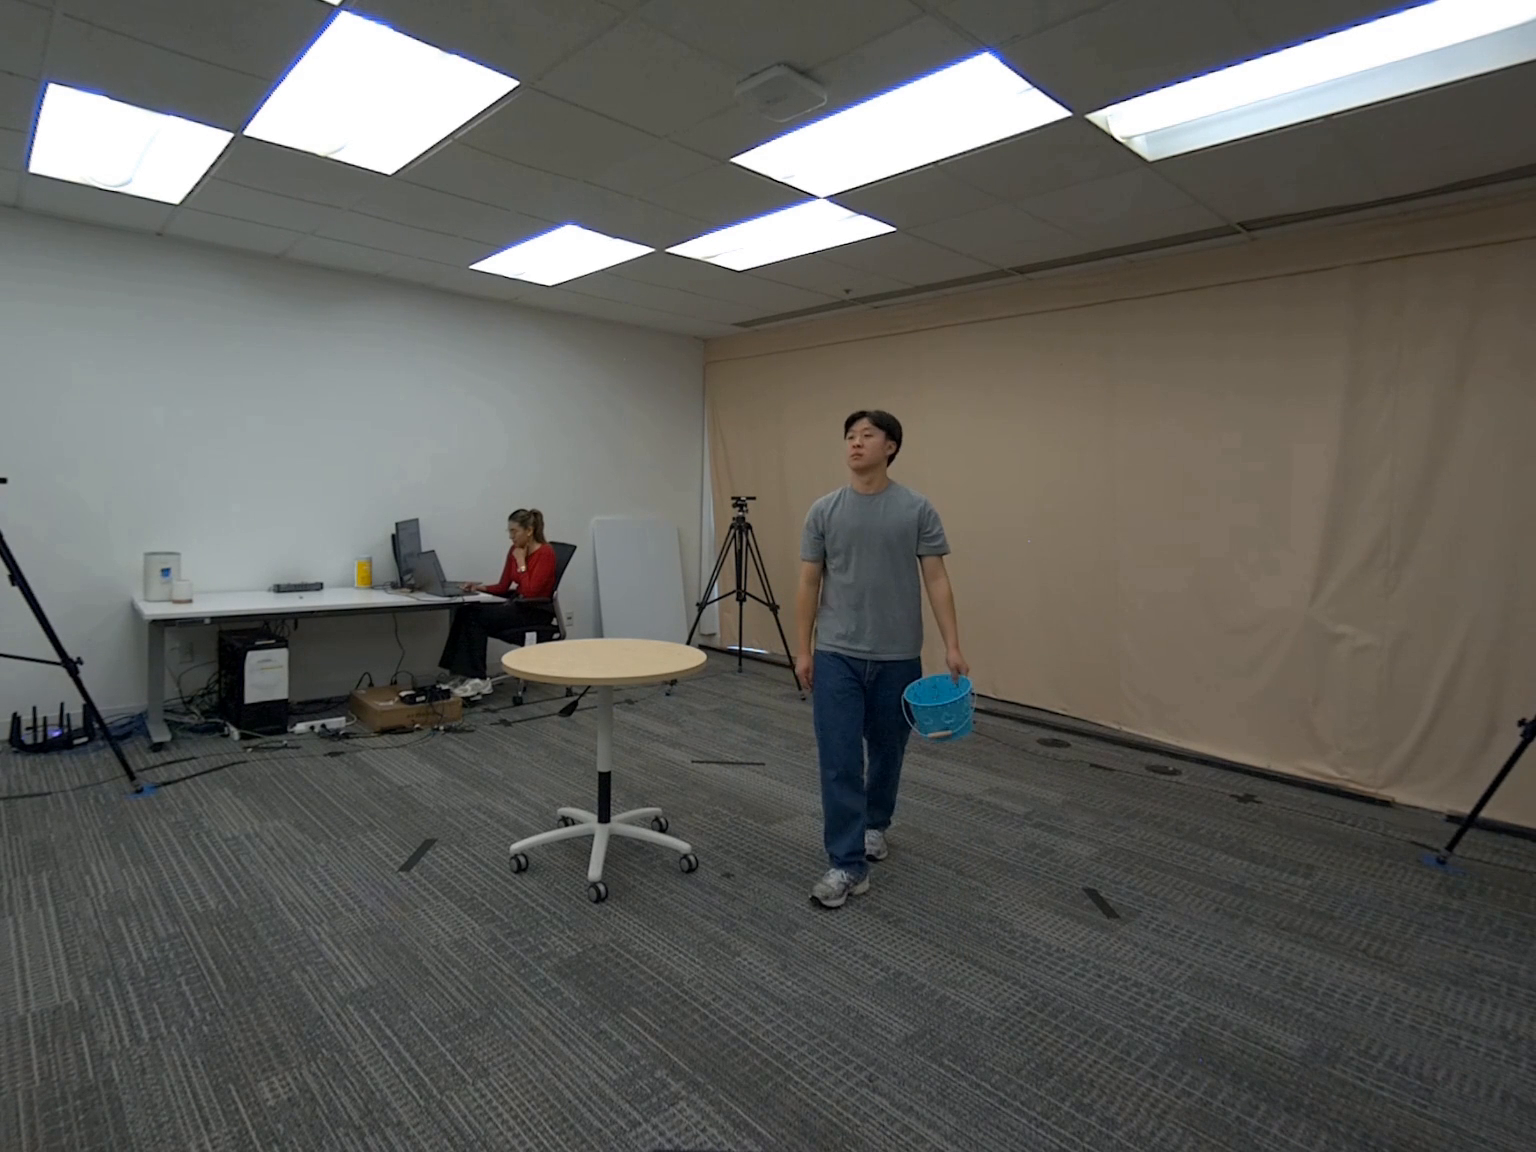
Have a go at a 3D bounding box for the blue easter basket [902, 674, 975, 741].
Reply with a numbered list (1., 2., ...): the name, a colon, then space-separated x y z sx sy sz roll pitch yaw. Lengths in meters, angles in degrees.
1. blue easter basket: 0.567 0.449 2.870 0.244 0.154 0.246 -14 14 2
